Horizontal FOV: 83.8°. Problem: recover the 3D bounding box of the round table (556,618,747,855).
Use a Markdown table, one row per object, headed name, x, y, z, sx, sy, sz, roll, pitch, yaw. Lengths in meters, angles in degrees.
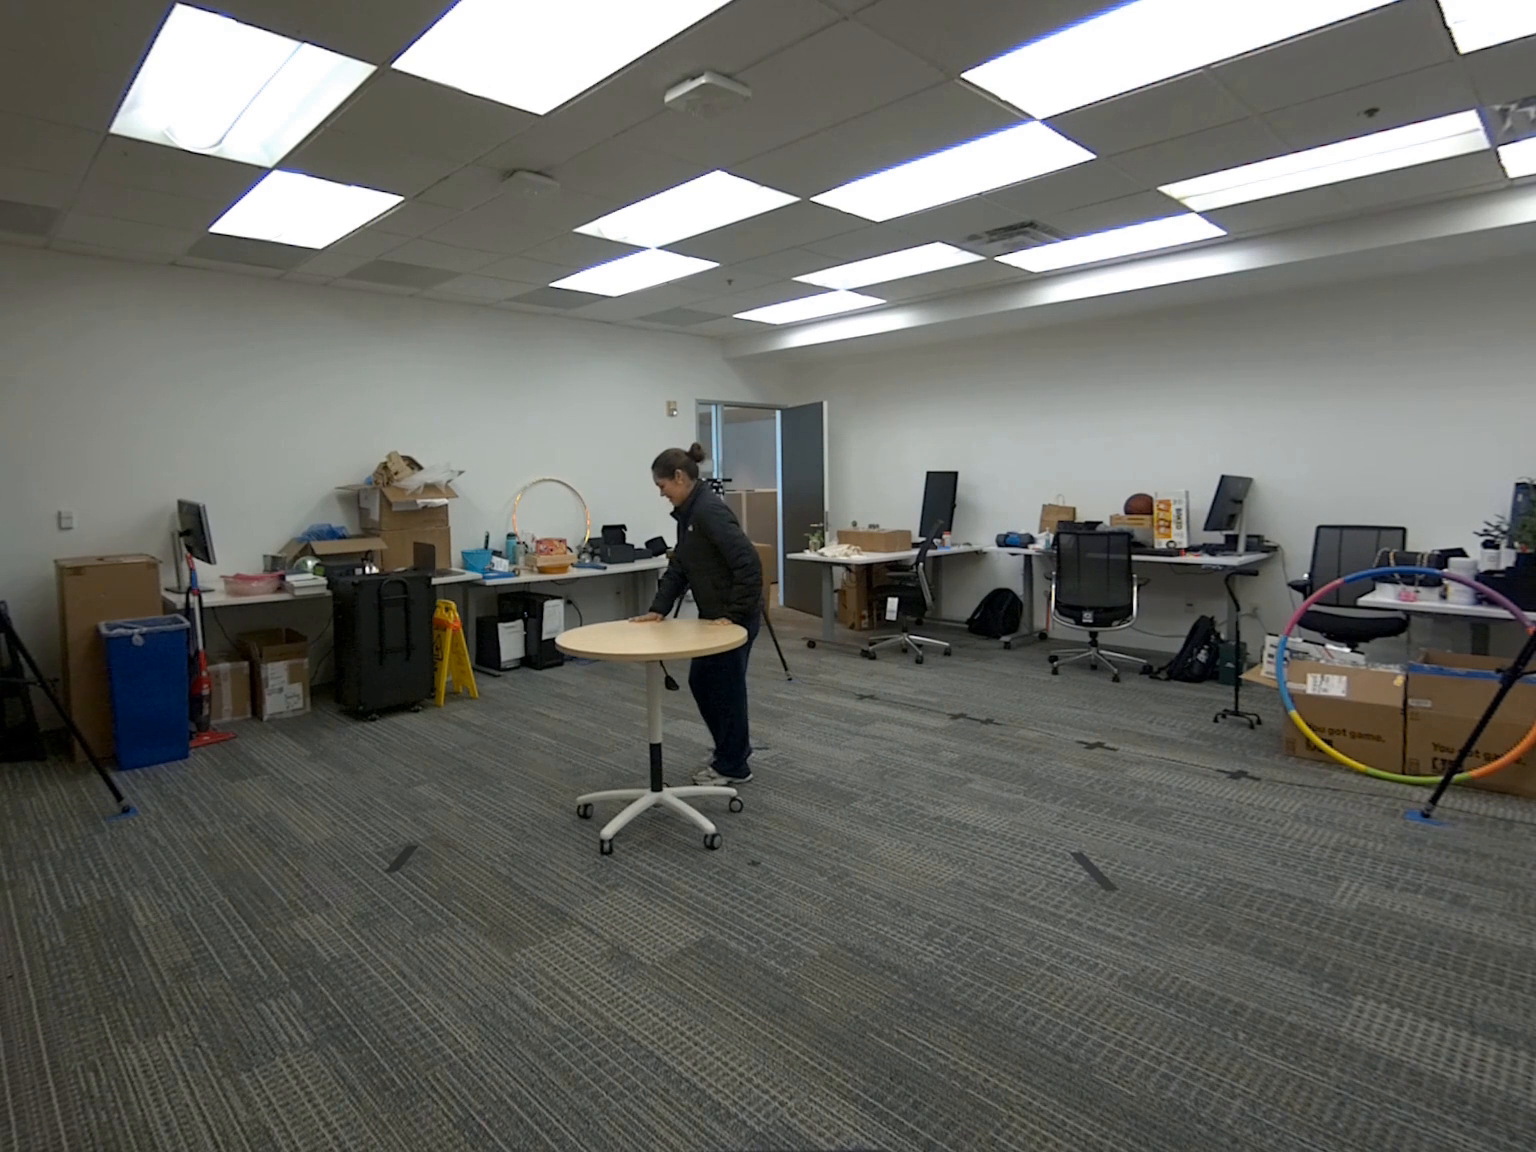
| name | x | y | z | sx | sy | sz | roll | pitch | yaw |
| --- | --- | --- | --- | --- | --- | --- | --- | --- | --- |
| round table | -0.456 | 0.619 | 3.474 | 0.784 | 0.783 | 0.789 | -1 | 5 | -2 |
